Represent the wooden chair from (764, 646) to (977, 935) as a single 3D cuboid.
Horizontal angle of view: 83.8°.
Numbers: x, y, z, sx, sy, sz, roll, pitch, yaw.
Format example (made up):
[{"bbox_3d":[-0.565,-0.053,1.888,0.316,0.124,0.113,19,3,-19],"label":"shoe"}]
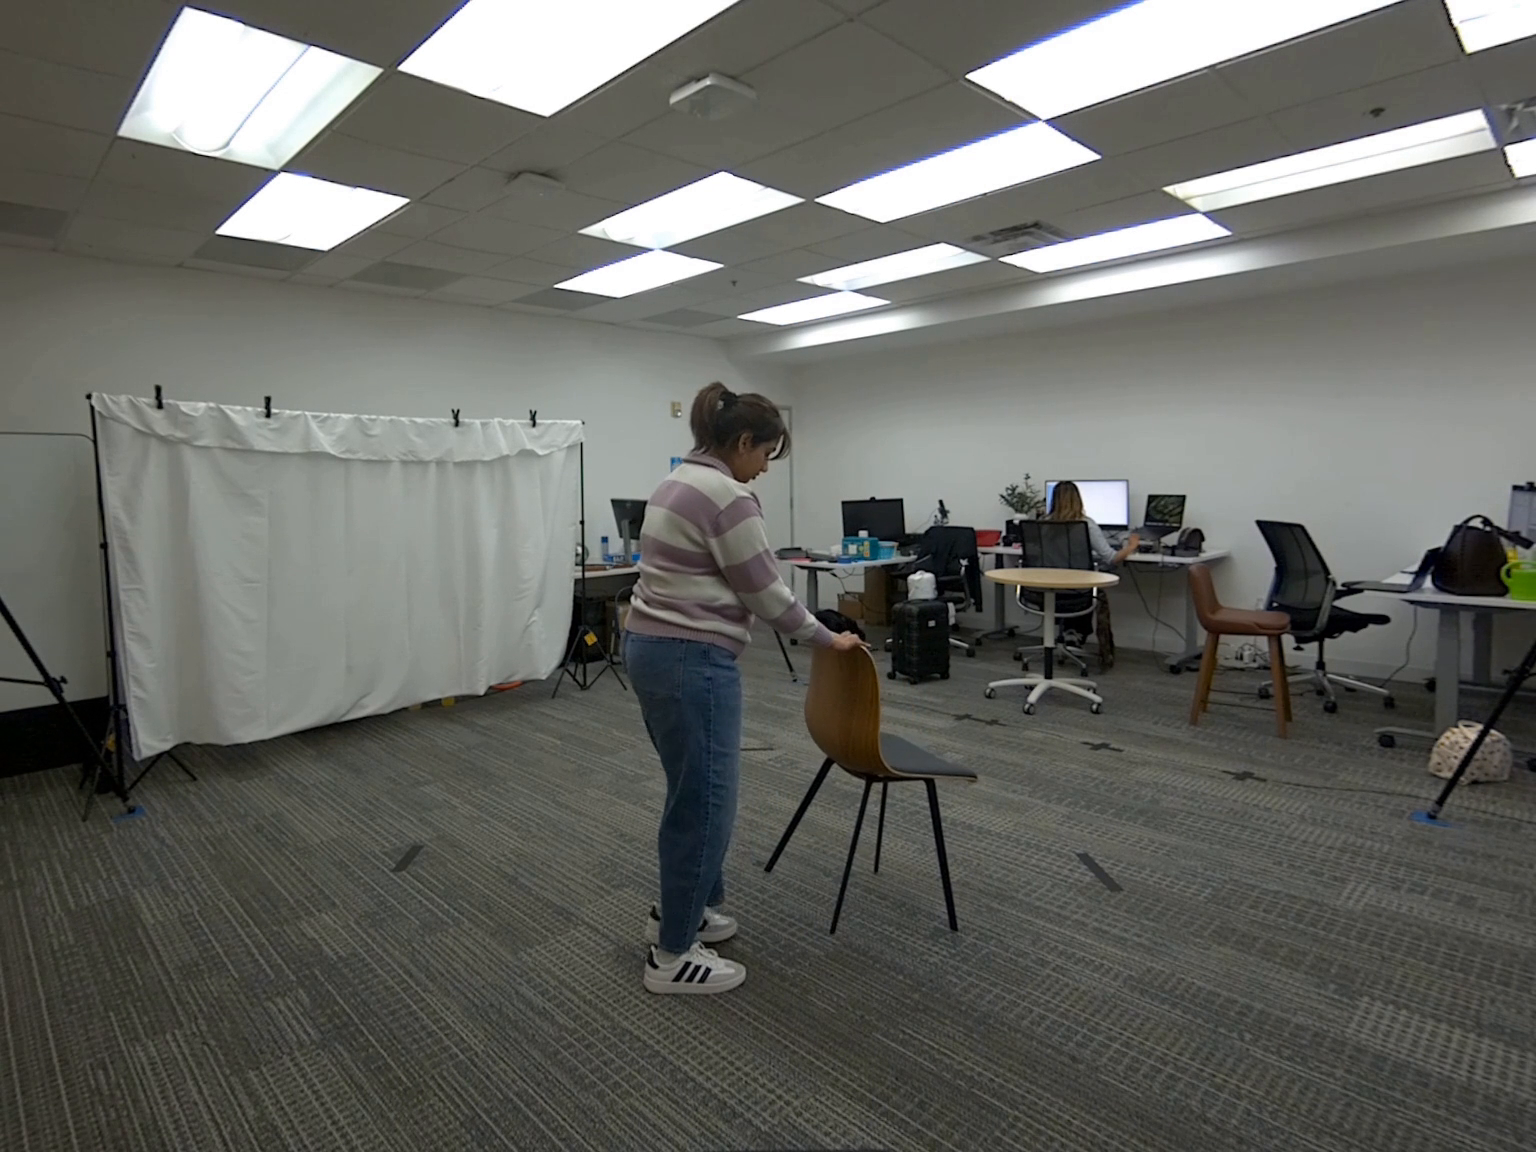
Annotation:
[{"bbox_3d":[0.364,0.621,2.748,0.511,0.877,0.489,5,1,-24],"label":"wooden chair"}]
